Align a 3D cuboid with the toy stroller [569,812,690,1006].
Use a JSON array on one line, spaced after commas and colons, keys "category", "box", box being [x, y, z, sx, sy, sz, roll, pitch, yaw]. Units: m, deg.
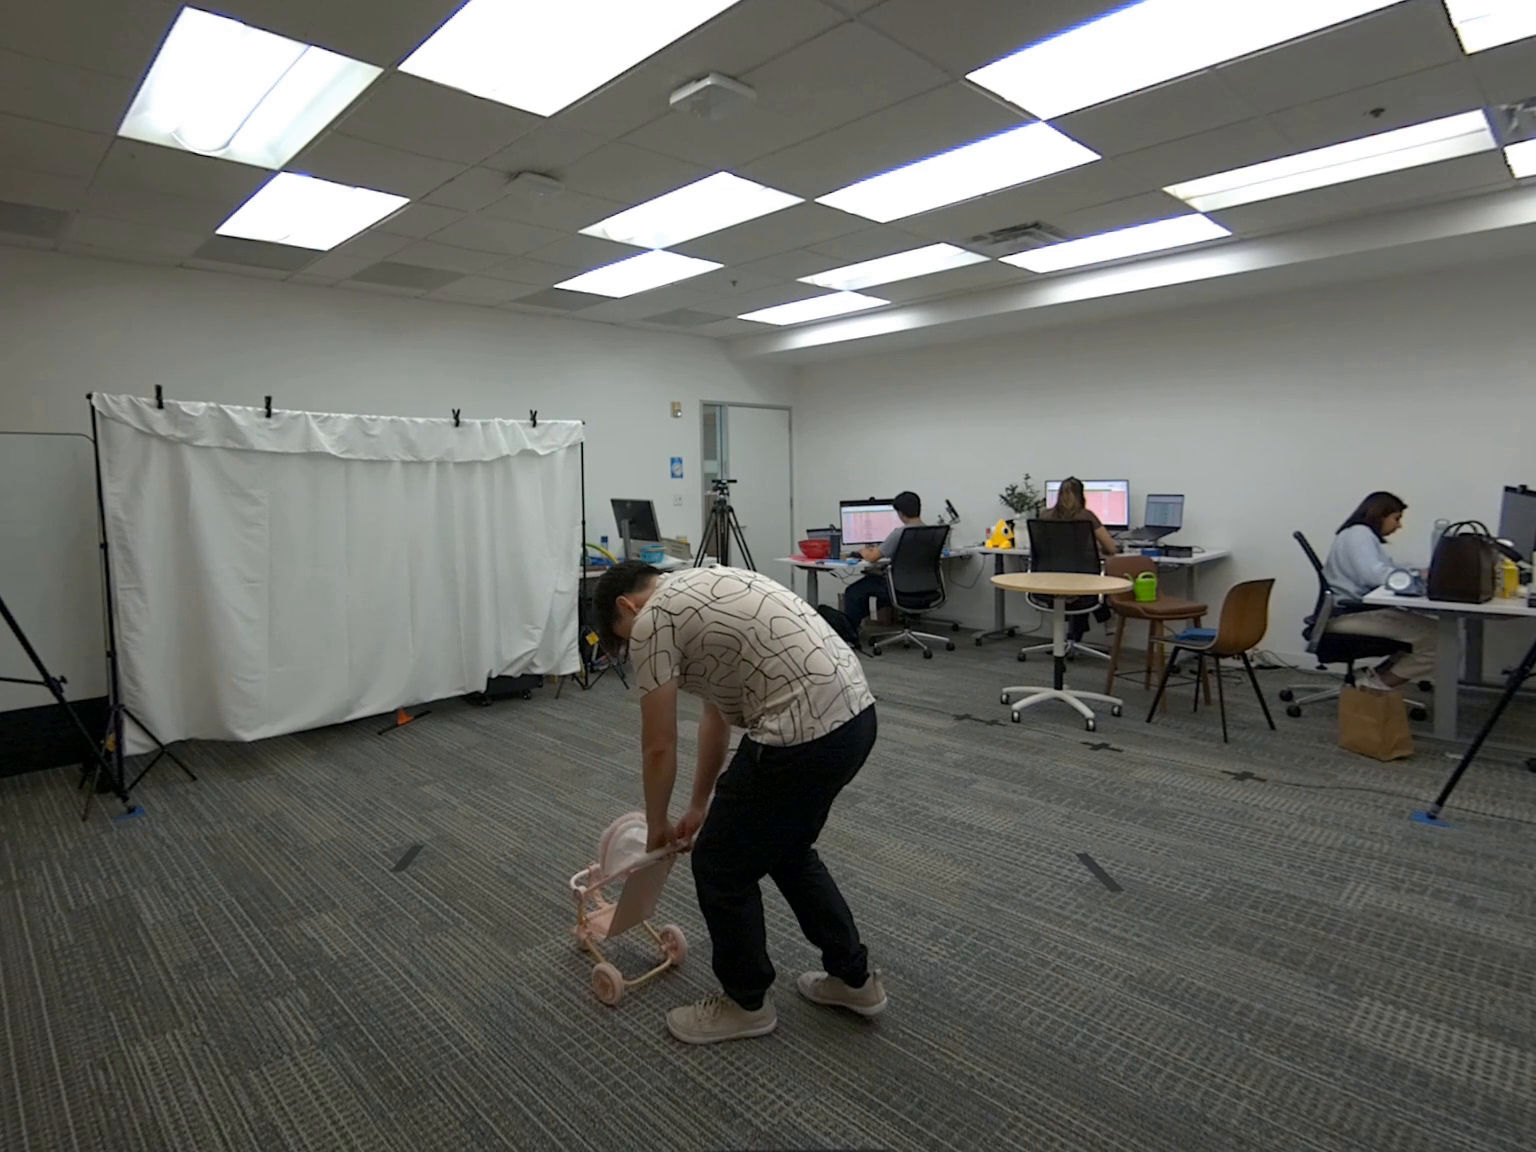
[{"category": "toy stroller", "box": [-0.404, 0.908, 2.424, 0.354, 0.529, 0.274, 23, 19, 41]}]
